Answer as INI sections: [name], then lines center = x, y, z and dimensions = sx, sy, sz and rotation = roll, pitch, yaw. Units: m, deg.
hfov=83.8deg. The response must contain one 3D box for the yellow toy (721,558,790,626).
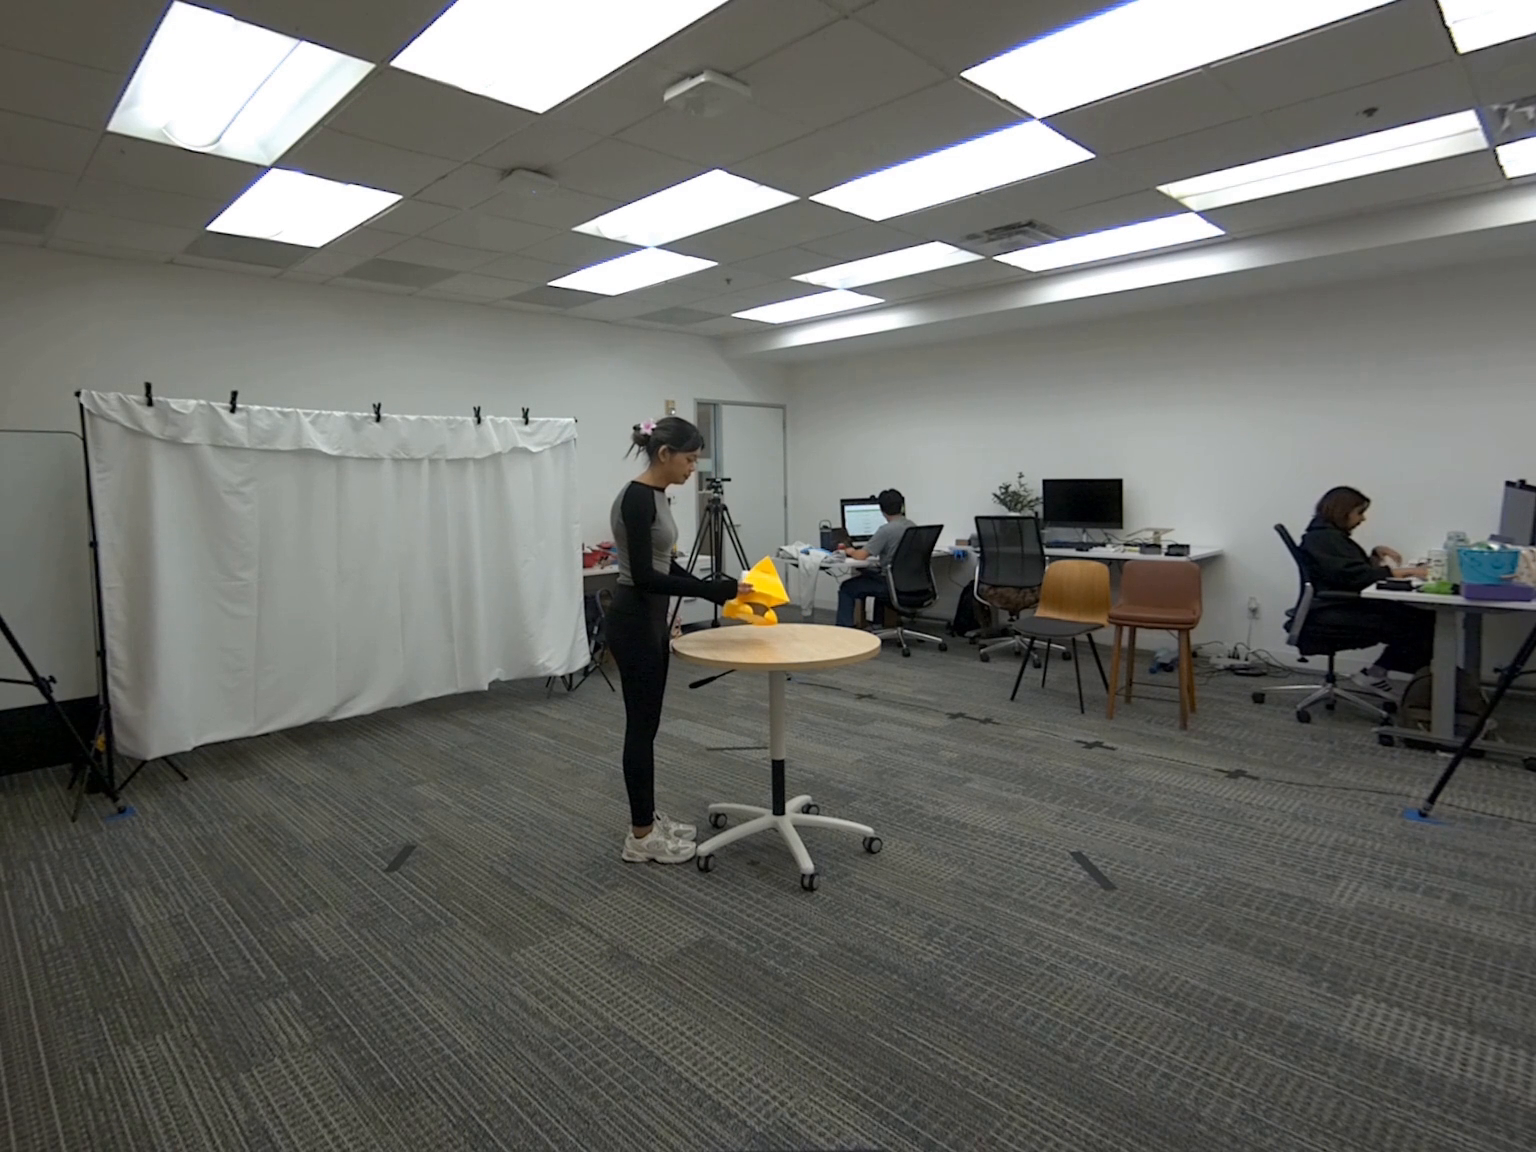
[yellow toy]
center = -0.047, 0.046, 3.167
dimensions = 0.200, 0.233, 0.195
rotation = 18, -19, -21
